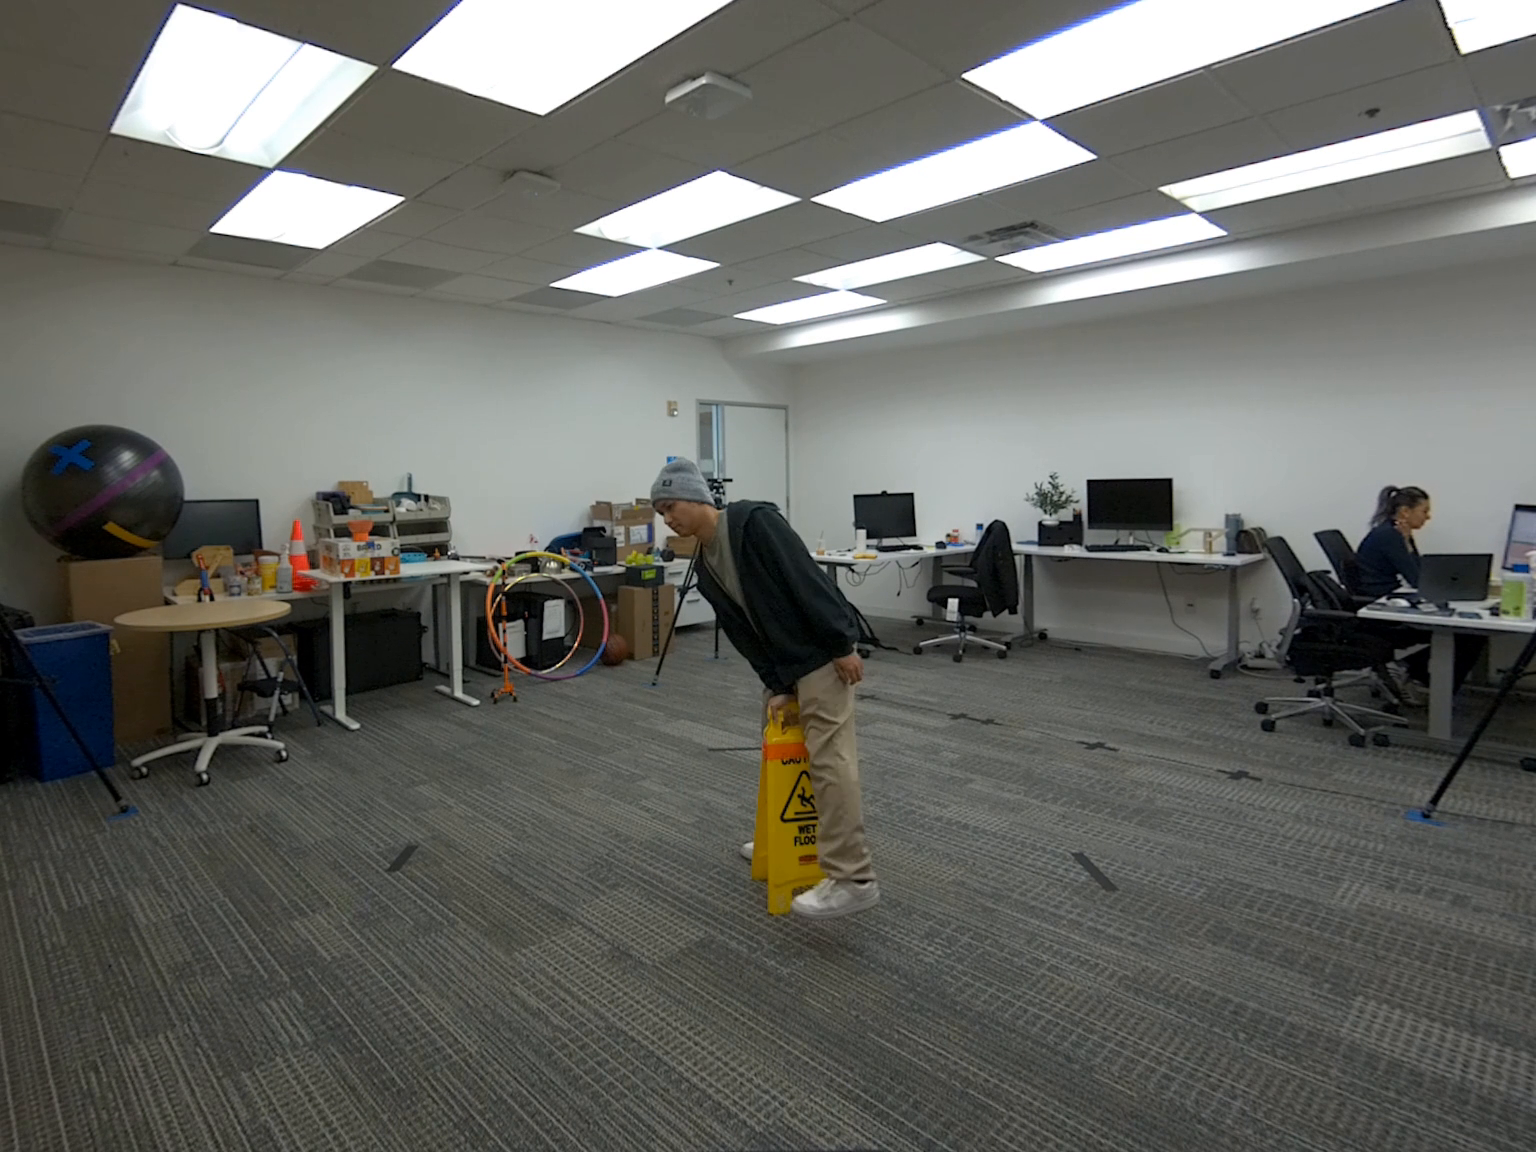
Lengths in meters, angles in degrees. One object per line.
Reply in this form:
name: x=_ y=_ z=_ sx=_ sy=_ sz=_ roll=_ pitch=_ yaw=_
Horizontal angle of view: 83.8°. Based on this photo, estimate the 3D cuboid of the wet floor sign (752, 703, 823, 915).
wet floor sign: x=0.099 y=0.750 z=2.861 sx=0.279 sy=0.643 sz=0.294 roll=-4 pitch=5 yaw=-12
